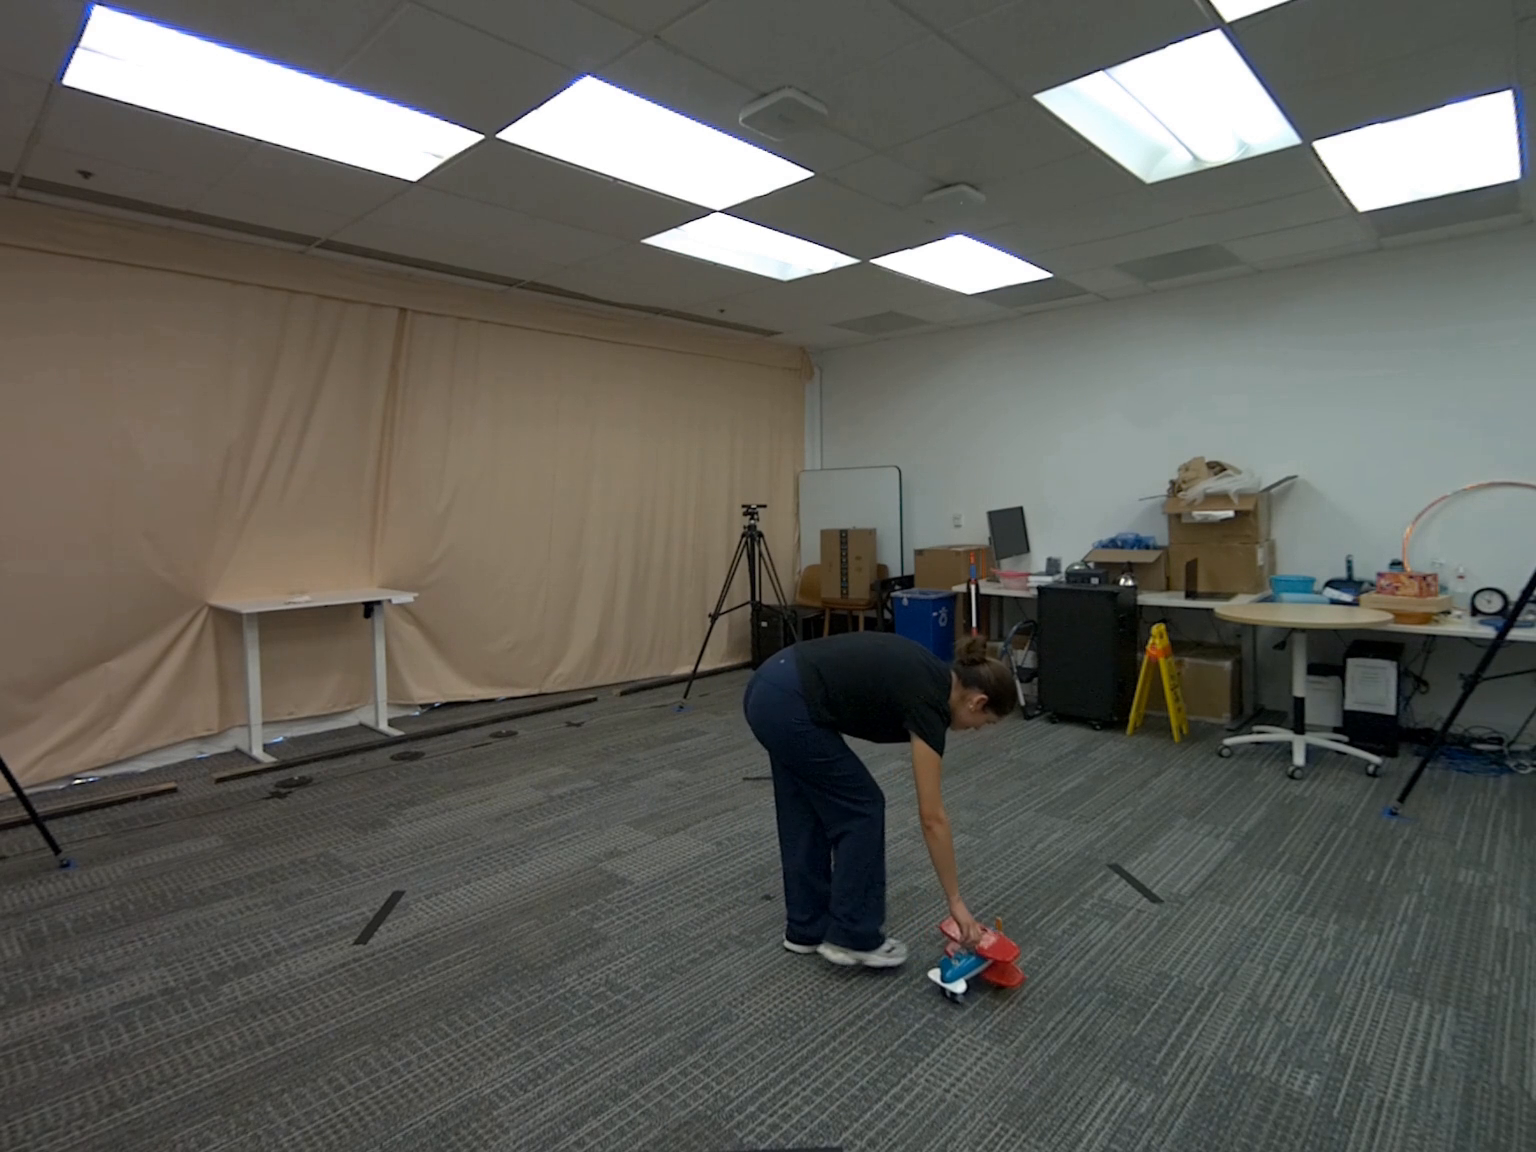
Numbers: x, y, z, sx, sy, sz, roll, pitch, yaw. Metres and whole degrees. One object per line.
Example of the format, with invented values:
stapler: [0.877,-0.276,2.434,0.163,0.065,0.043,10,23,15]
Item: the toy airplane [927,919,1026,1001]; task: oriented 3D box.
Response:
toy airplane: [0.619,1.106,2.396,0.258,0.156,0.252,2,5,29]
